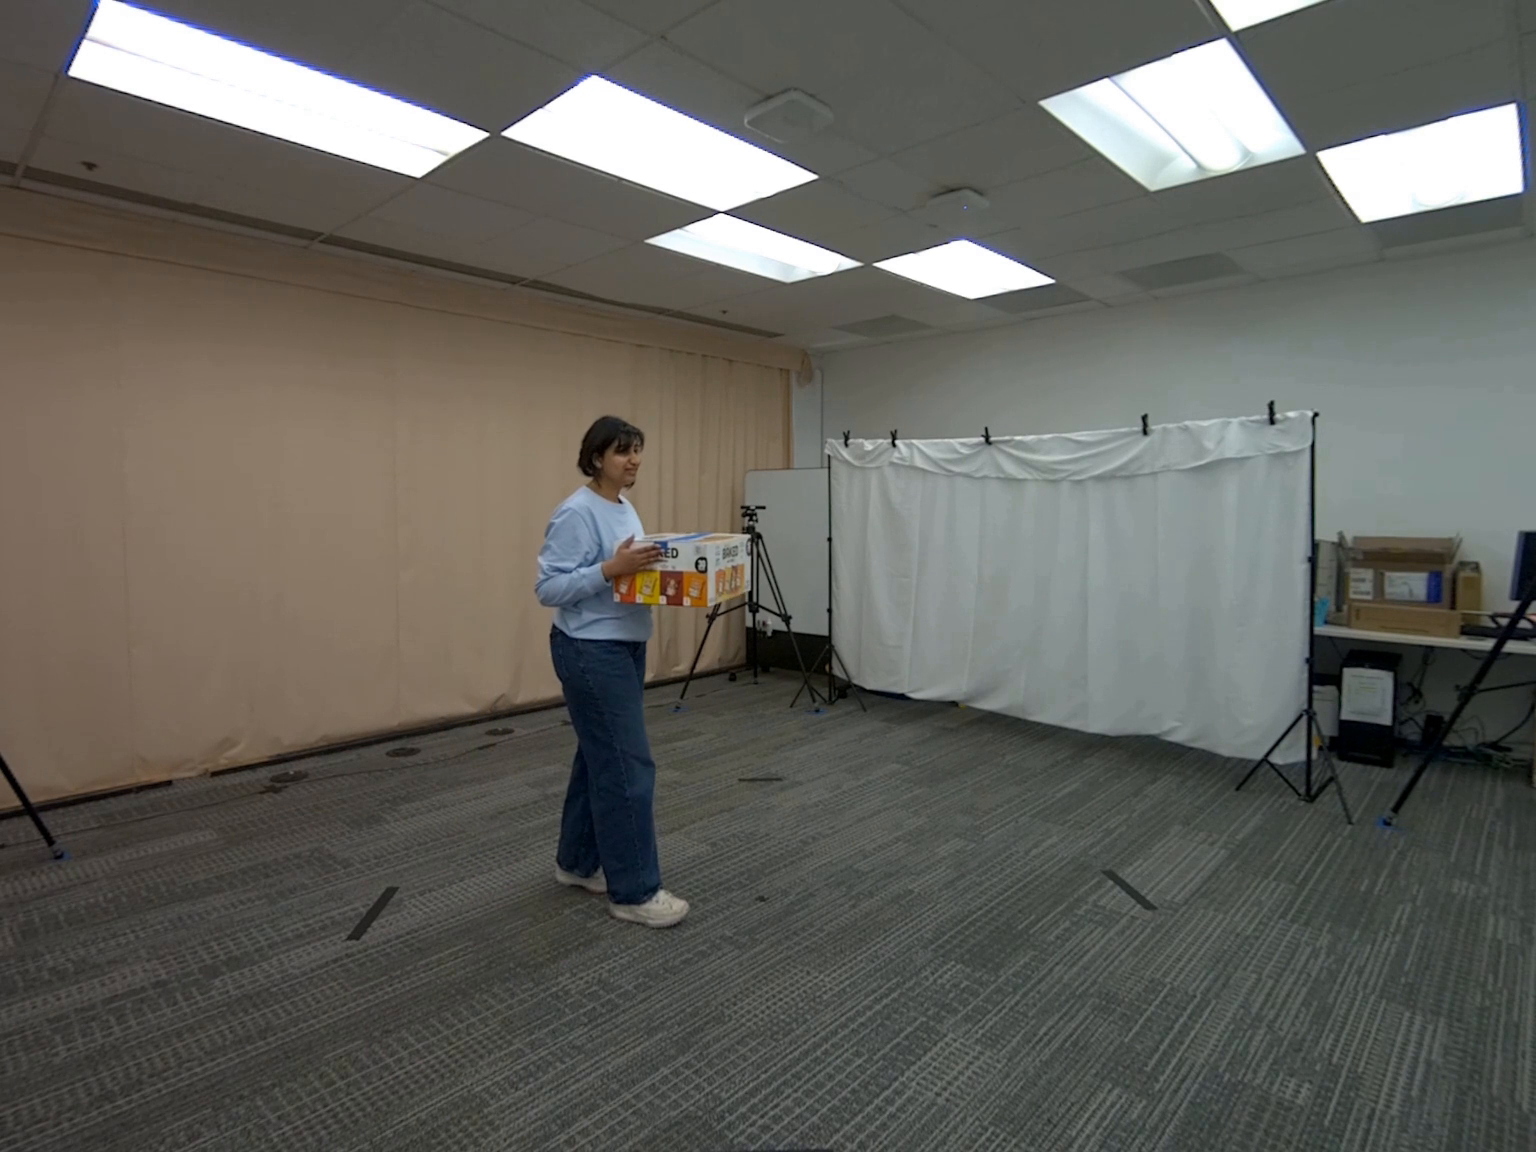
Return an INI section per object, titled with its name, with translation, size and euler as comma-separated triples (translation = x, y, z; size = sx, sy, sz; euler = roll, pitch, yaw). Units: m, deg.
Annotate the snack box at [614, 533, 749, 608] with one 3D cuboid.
[snack box]
translation = -0.280, -0.031, 2.868
size = 0.348, 0.205, 0.398
euler = 2, 7, 20
